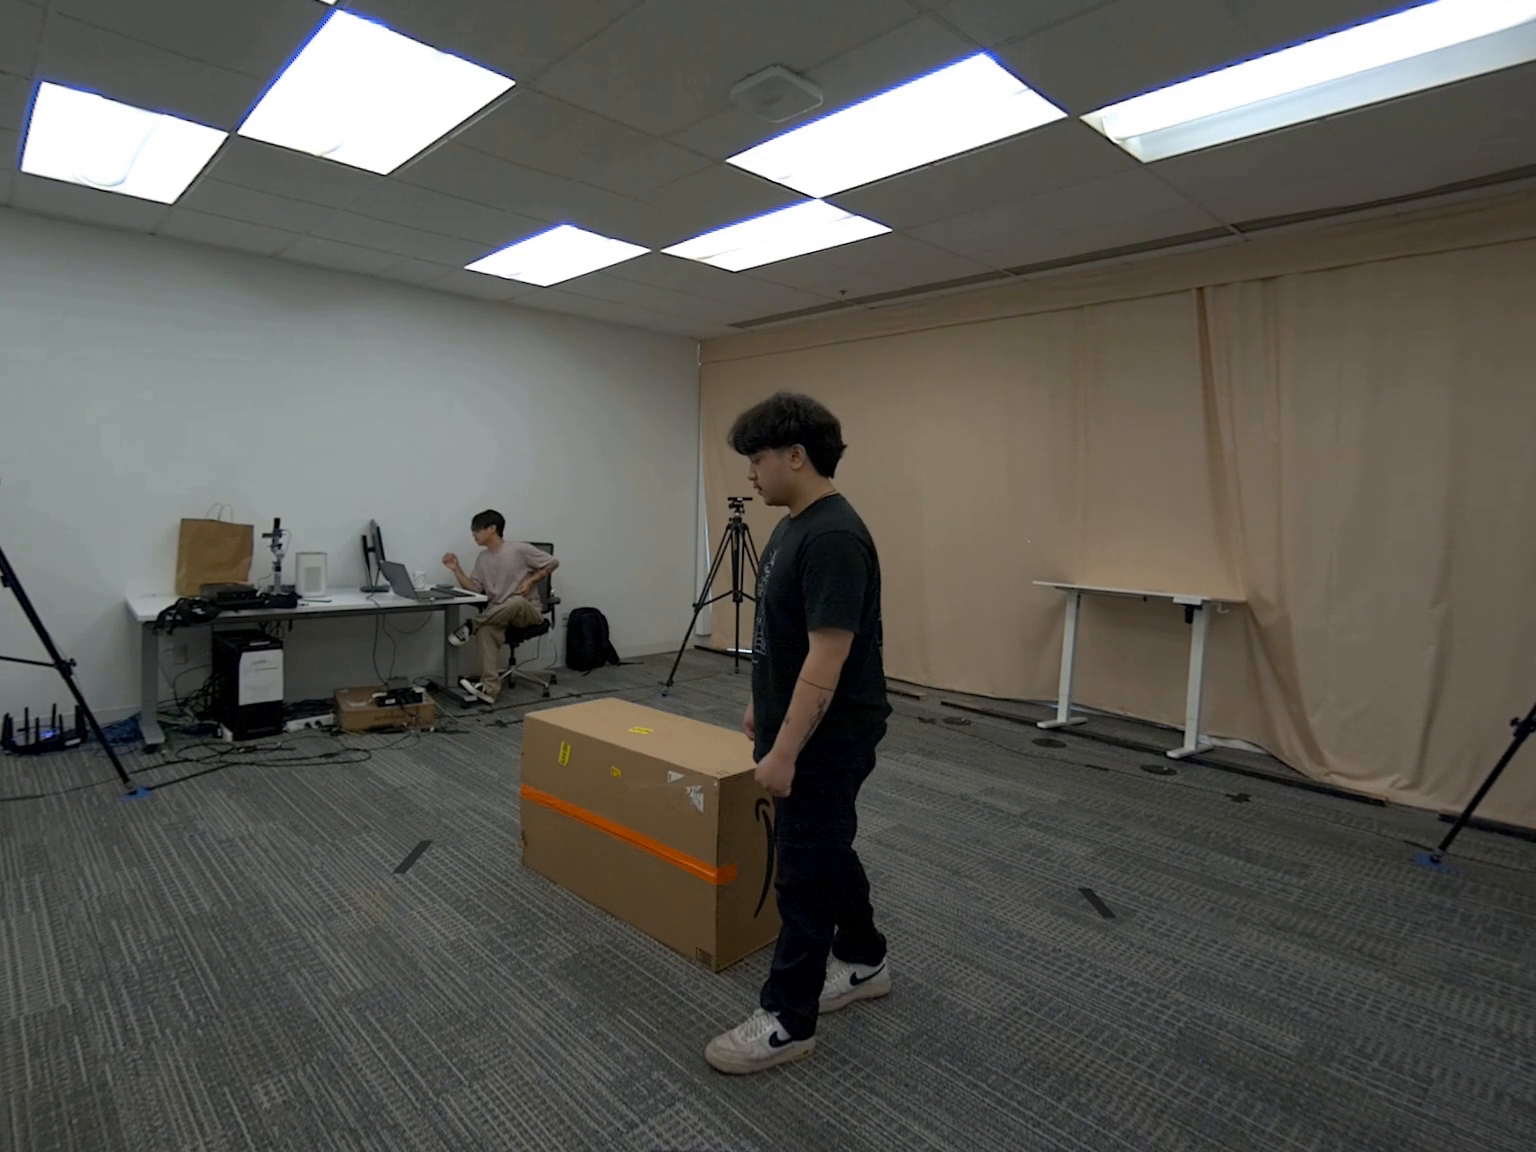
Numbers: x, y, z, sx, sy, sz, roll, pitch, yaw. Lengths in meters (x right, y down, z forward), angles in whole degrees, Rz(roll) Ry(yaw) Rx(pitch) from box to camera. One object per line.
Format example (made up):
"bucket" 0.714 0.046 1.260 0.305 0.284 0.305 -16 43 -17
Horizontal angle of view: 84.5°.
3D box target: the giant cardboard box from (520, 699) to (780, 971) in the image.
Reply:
"giant cardboard box" -0.403 0.830 2.948 1.053 0.582 0.437 5 6 41
